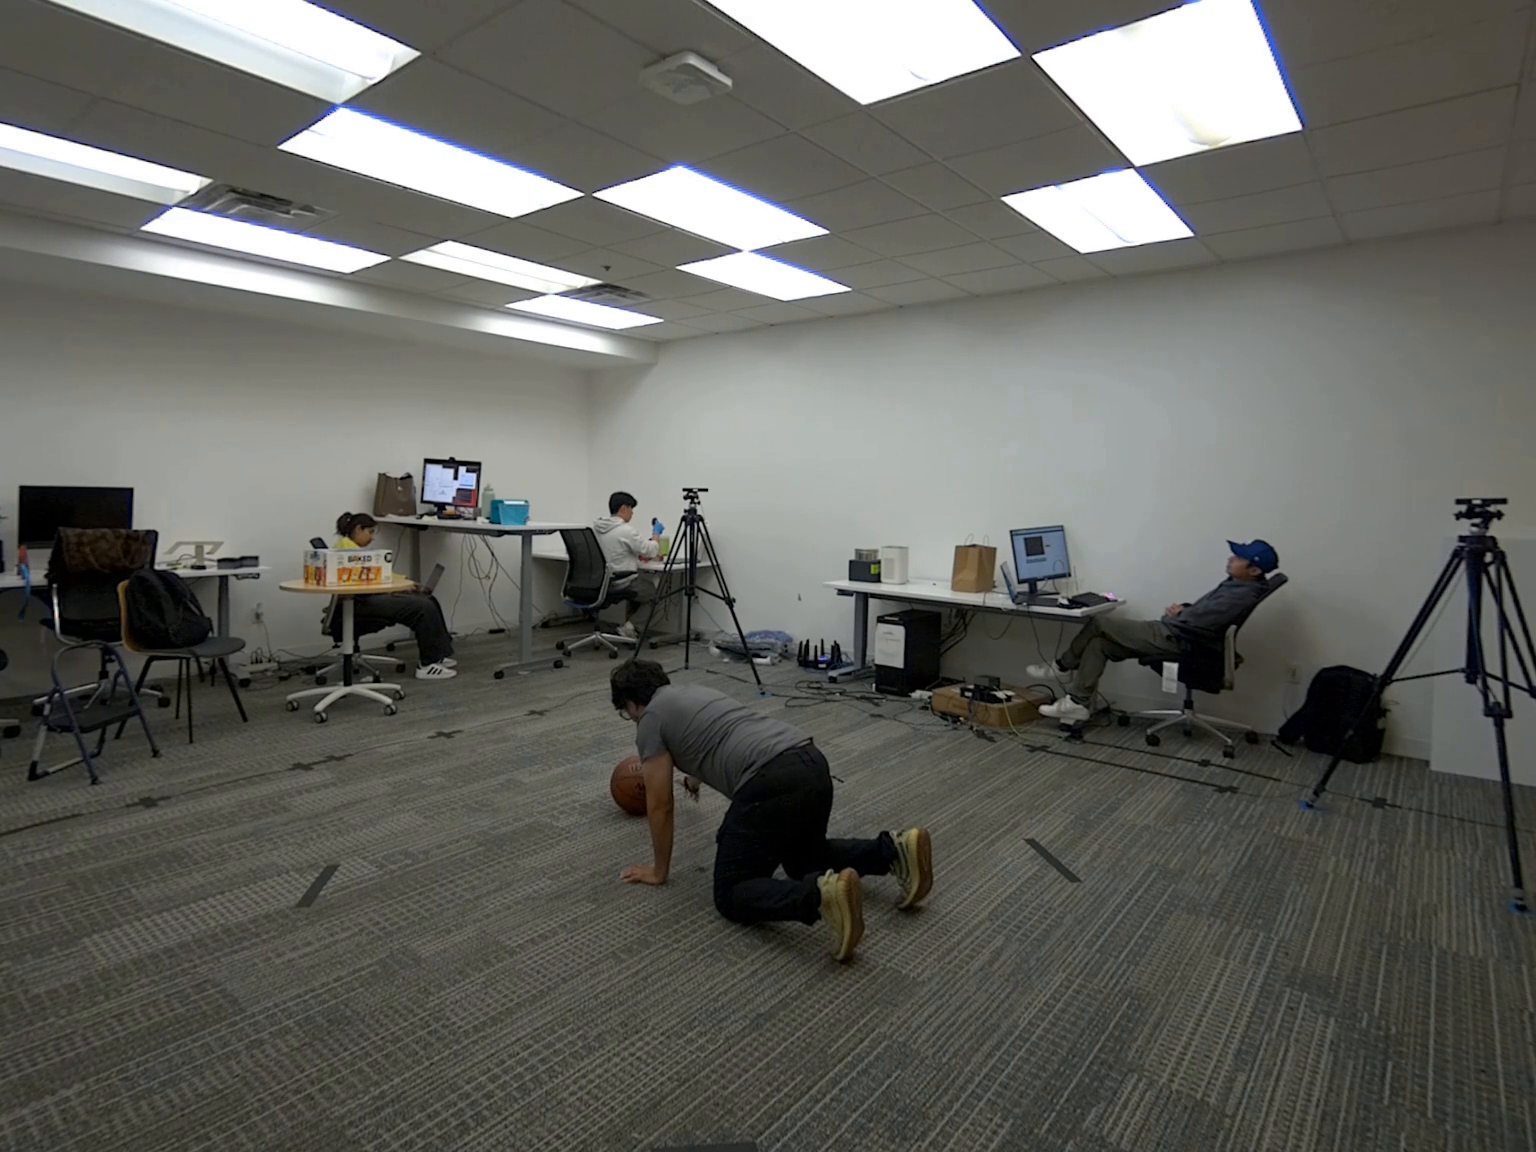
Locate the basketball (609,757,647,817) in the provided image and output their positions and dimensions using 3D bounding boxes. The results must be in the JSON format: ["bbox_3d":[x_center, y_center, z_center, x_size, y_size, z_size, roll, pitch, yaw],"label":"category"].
[{"bbox_3d":[-0.574,0.890,3.658,0.235,0.235,0.237,1,4,-2],"label":"basketball"}]
